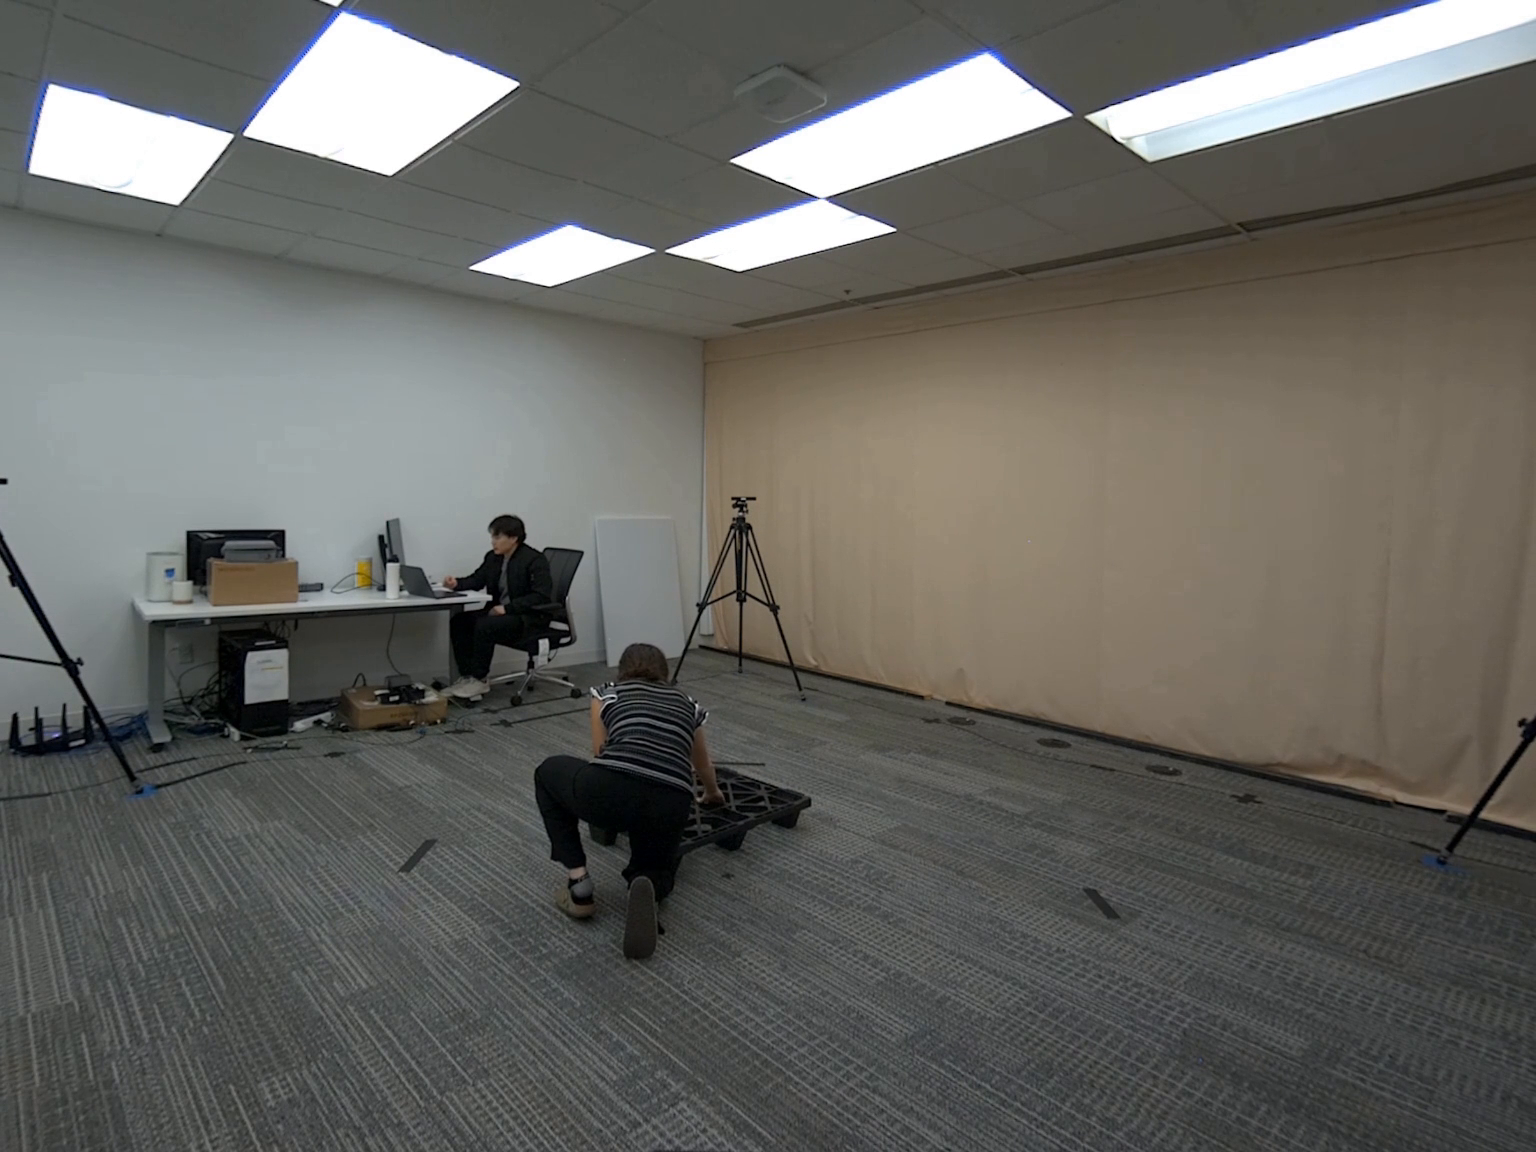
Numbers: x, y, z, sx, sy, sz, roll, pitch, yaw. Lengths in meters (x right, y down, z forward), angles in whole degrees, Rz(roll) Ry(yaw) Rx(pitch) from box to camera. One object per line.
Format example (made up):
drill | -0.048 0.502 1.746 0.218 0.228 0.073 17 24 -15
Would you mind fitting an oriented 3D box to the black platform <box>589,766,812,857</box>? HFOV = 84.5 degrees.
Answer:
black platform | -0.298 1.004 3.503 0.621 0.143 0.787 6 7 44
